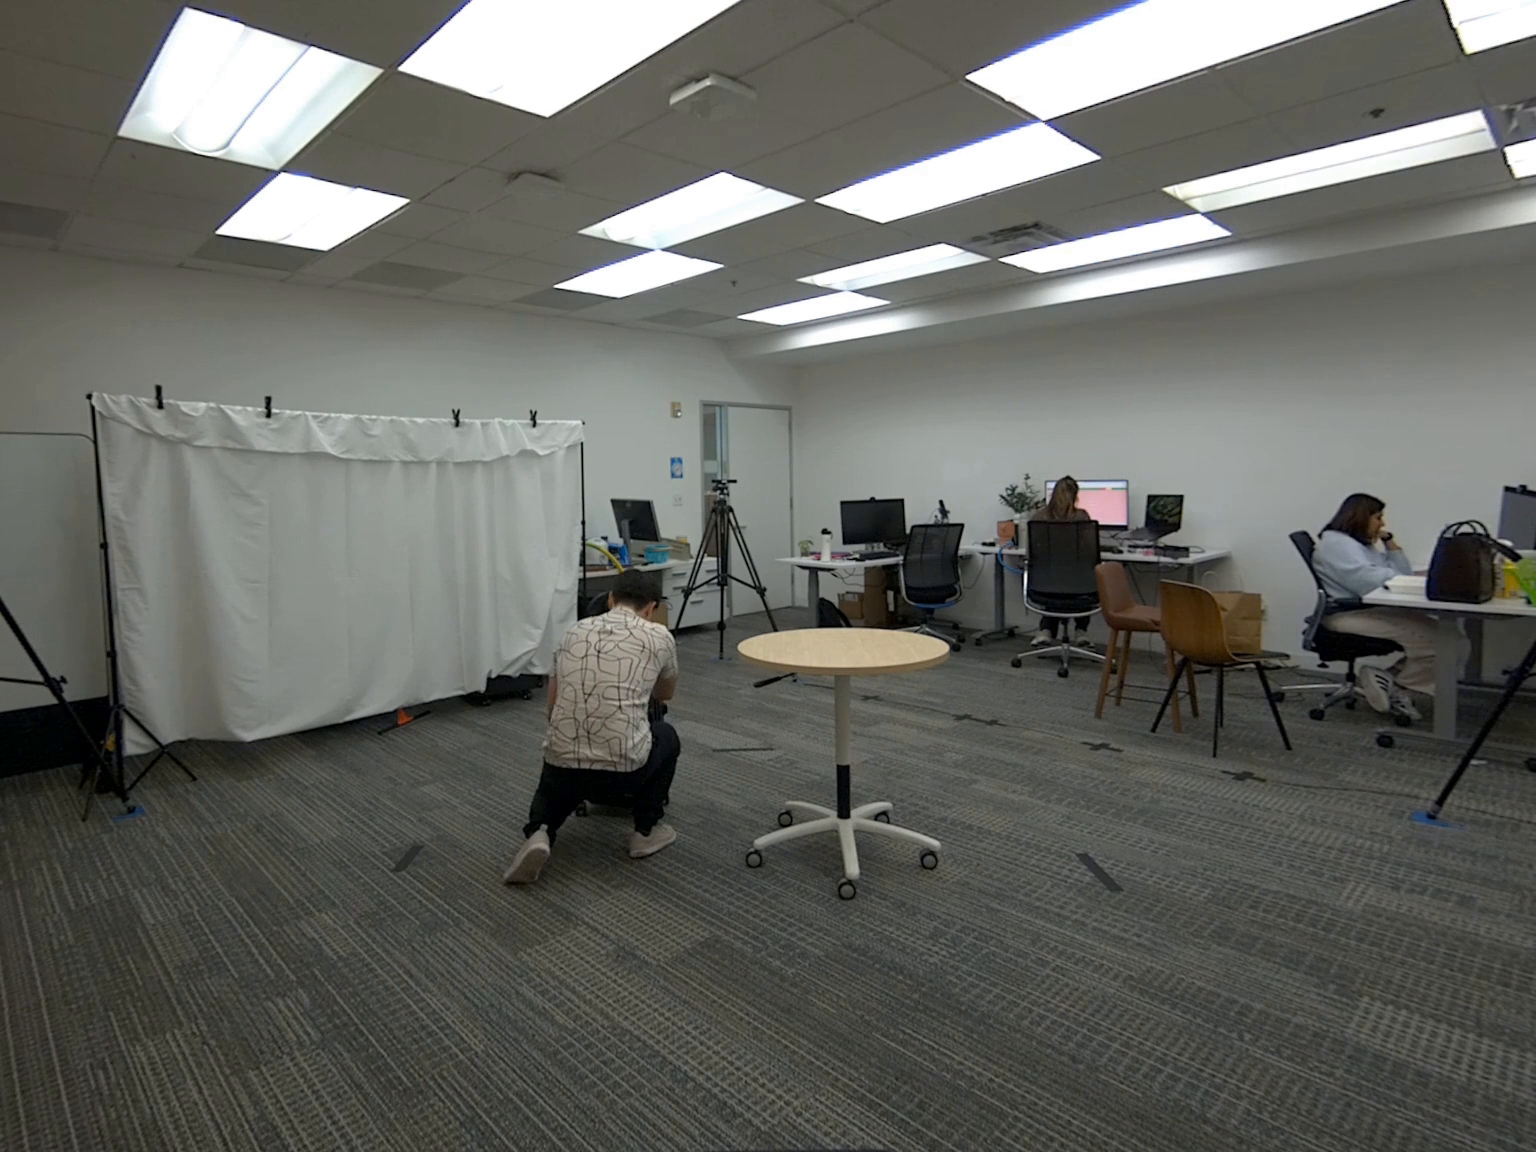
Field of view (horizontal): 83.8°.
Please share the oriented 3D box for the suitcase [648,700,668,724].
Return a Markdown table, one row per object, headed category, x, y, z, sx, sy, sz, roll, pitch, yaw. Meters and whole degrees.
| category | x | y | z | sx | sy | sz | roll | pitch | yaw |
| --- | --- | --- | --- | --- | --- | --- | --- | --- | --- |
| suitcase | -0.631 | 0.730 | 3.661 | 0.382 | 0.548 | 0.244 | -1 | 2 | 18 |
